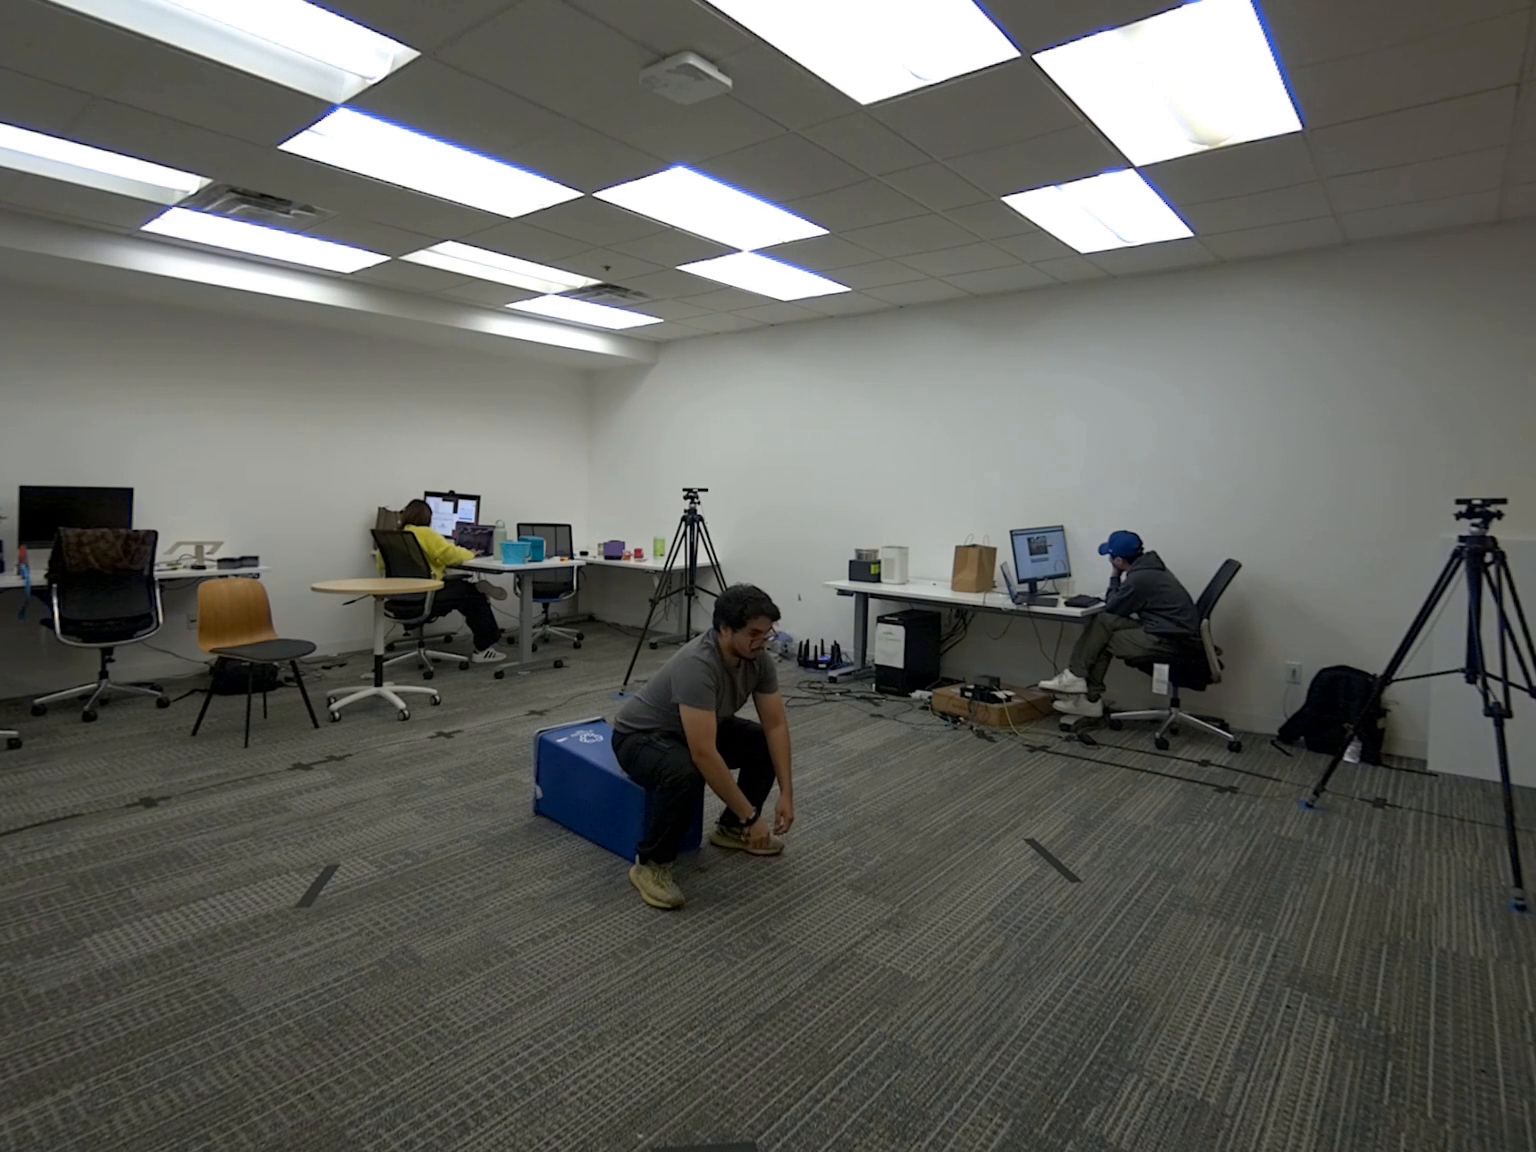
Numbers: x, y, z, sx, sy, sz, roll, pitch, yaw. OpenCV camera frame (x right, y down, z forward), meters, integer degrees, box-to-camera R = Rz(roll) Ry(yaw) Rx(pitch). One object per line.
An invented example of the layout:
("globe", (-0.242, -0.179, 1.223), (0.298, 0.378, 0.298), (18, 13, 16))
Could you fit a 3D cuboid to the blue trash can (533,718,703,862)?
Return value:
("blue trash can", (-0.626, 0.854, 3.455), (0.739, 0.372, 0.366), (8, 8, 44))
